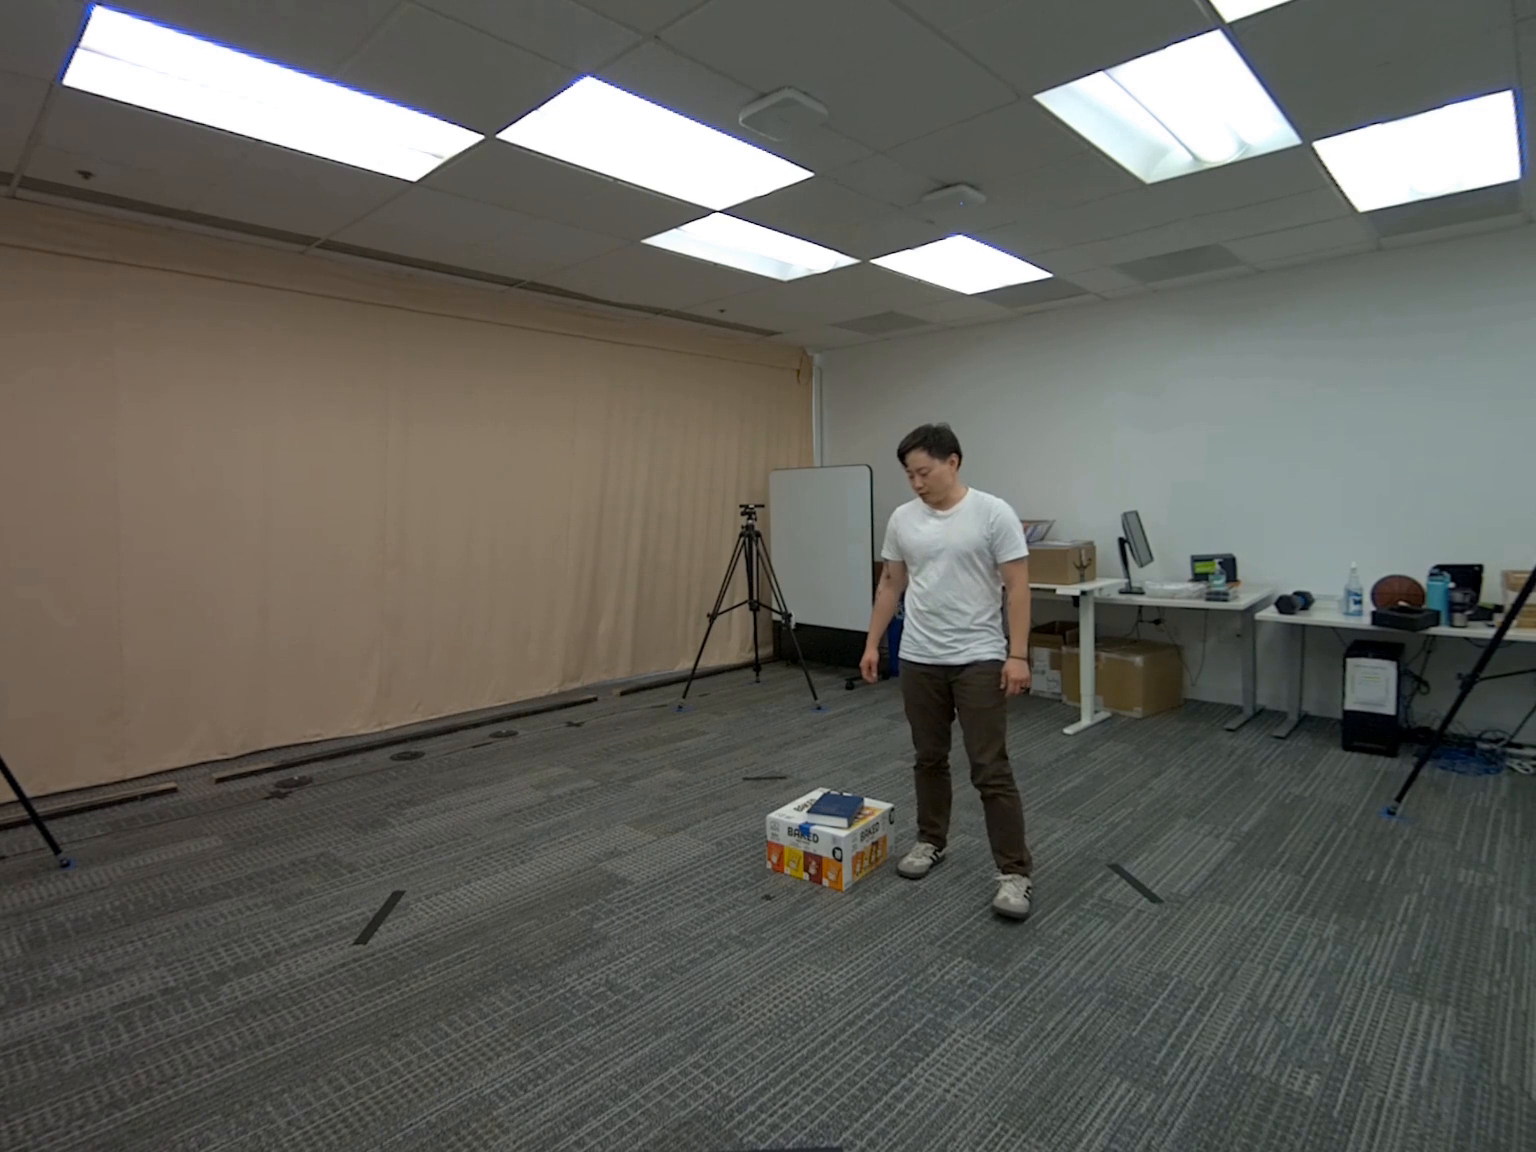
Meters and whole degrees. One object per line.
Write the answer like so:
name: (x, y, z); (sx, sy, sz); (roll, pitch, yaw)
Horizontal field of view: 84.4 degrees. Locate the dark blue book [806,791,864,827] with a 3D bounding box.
dark blue book: (0.274, 0.901, 3.230); (0.167, 0.045, 0.240); (-1, 4, 21)
